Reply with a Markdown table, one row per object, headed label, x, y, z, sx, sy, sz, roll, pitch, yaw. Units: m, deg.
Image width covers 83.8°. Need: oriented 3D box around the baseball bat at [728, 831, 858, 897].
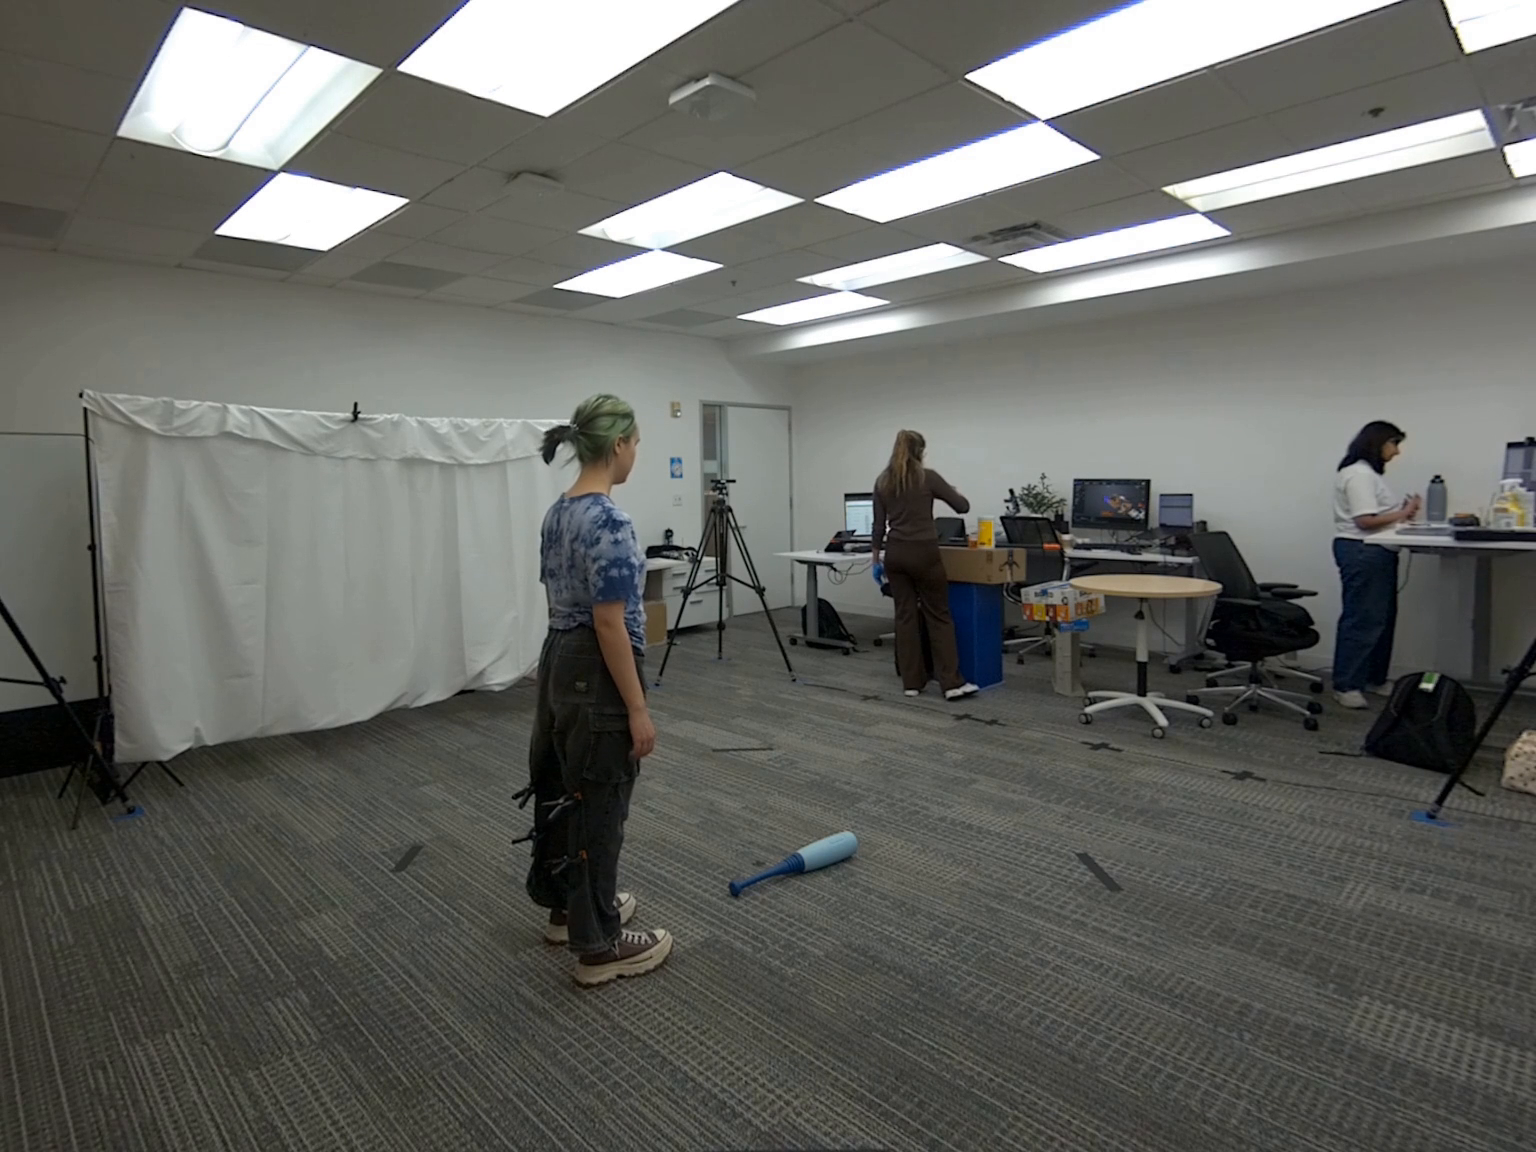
| label | x | y | z | sx | sy | sz | roll | pitch | yaw |
| --- | --- | --- | --- | --- | --- | --- | --- | --- | --- |
| baseball bat | 0.097 | 1.021 | 3.013 | 0.531 | 0.088 | 0.091 | -9 | 8 | -33 |
